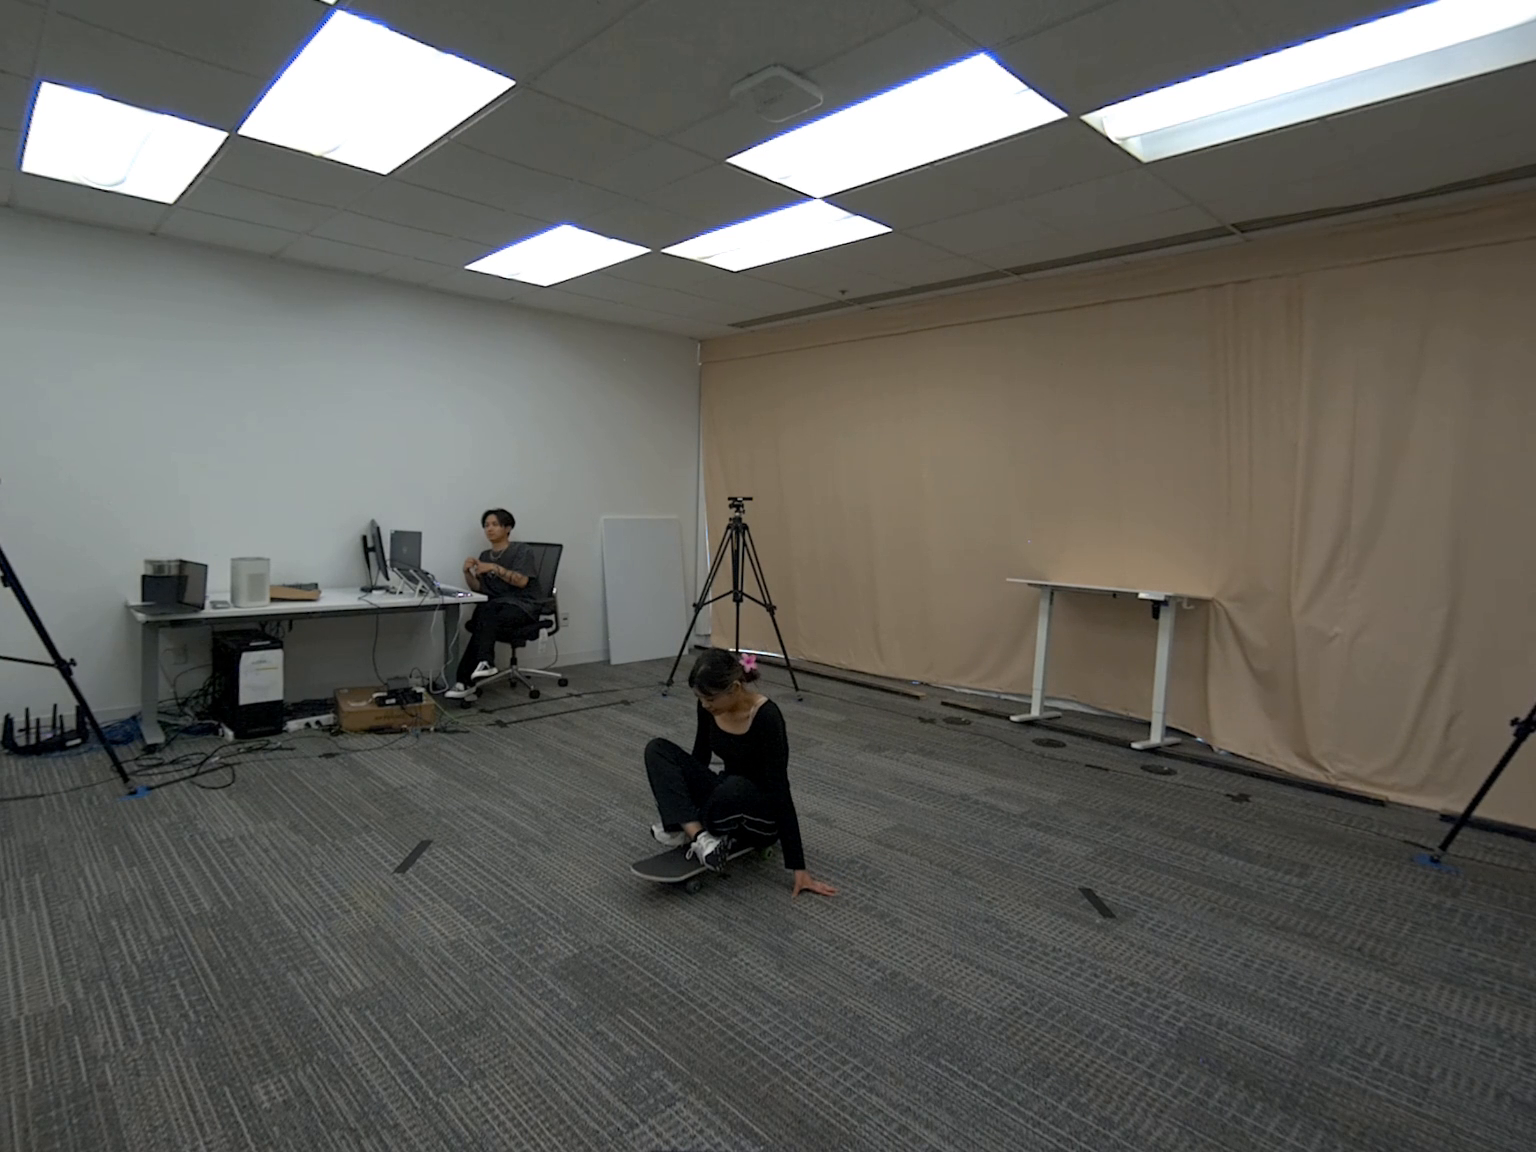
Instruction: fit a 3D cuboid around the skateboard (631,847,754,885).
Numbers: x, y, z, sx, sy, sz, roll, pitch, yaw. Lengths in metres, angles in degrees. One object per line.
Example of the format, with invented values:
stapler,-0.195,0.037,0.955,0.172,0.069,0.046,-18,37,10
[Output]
skateboard,-0.200,1.041,3.155,0.198,0.110,0.767,5,5,41
